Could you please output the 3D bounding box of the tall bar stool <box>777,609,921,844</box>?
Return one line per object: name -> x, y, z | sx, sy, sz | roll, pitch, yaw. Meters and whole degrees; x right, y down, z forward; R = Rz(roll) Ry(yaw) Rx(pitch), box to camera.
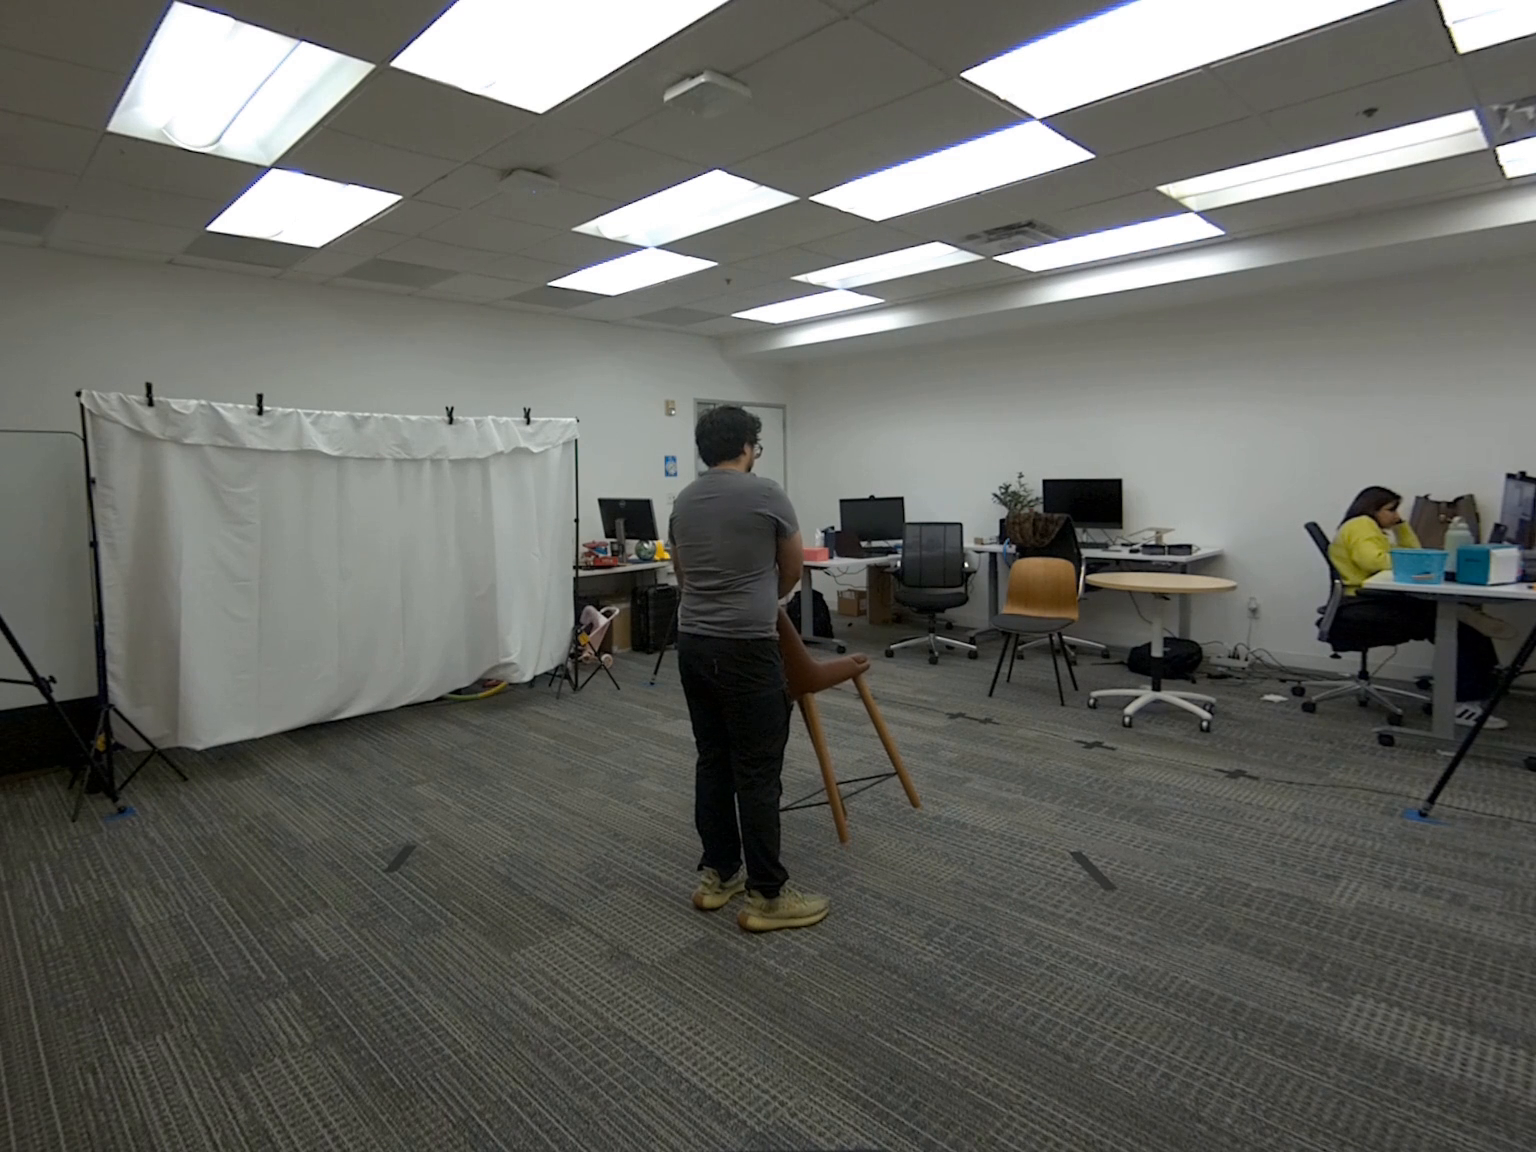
tall bar stool -> 0.164, 0.546, 3.301 | 0.456, 0.900, 0.462 | -9, -13, -44
